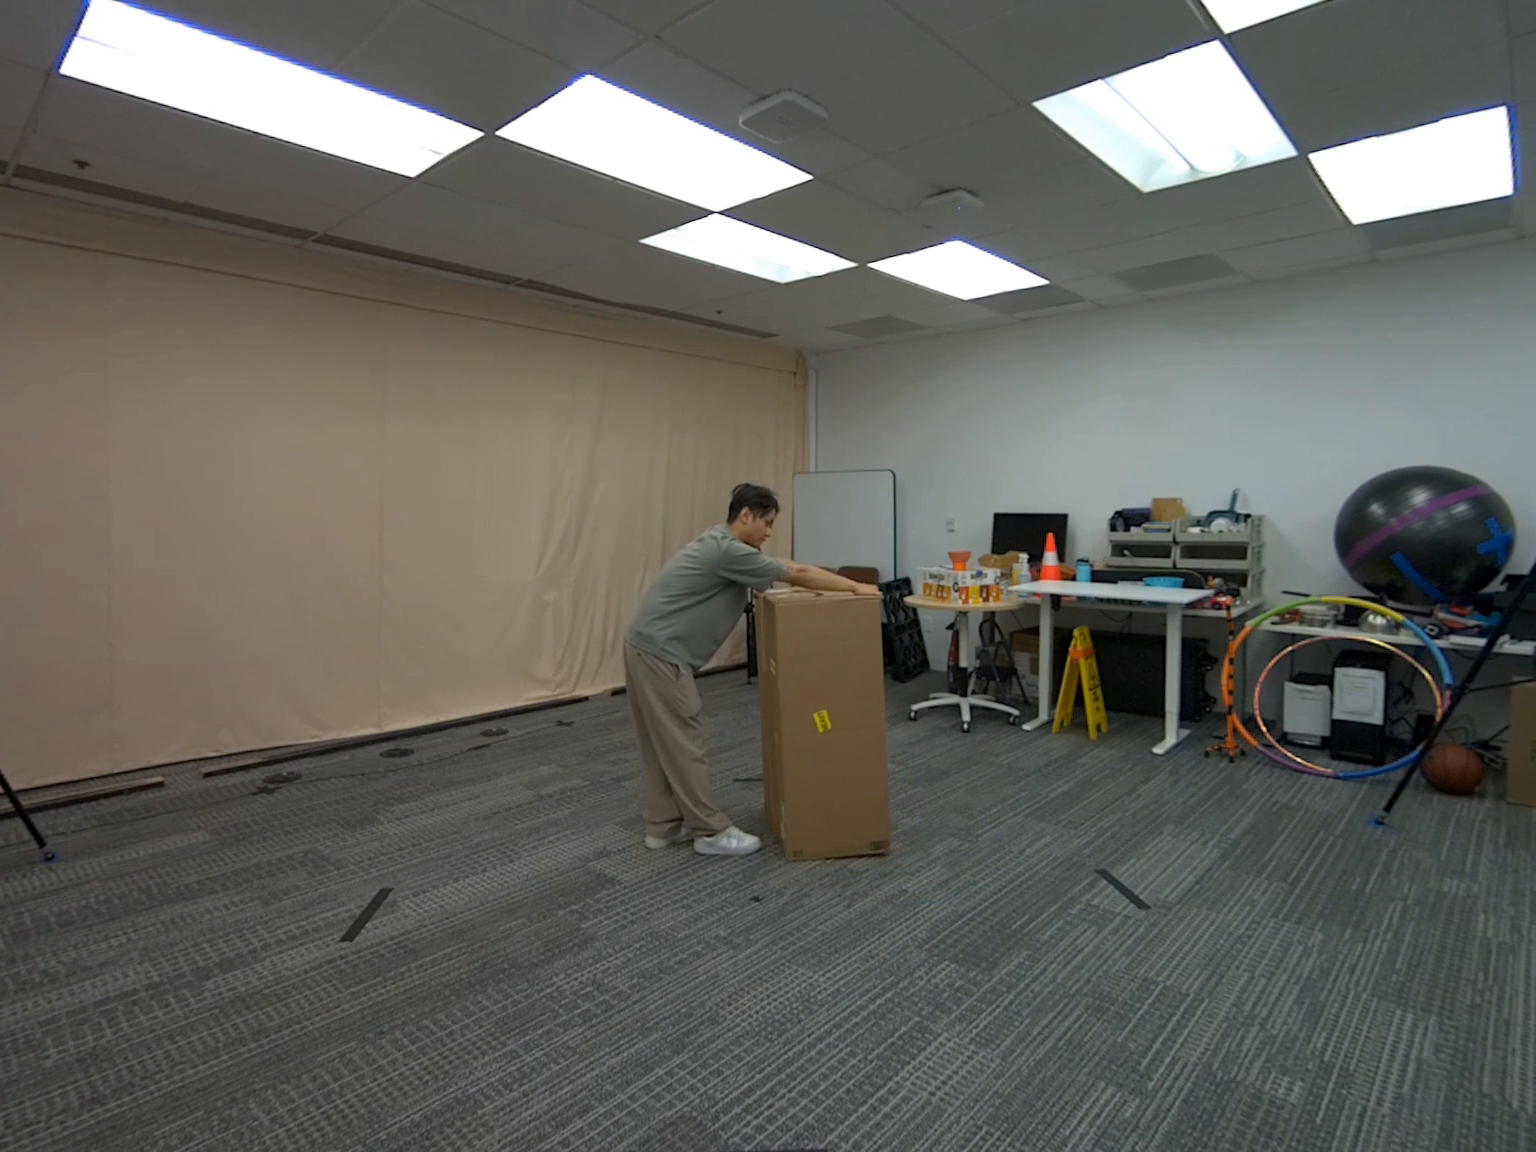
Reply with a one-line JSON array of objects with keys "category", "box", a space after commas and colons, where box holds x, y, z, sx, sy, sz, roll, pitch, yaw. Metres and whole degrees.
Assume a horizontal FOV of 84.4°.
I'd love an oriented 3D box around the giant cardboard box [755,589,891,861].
[{"category": "giant cardboard box", "box": [0.213, 0.576, 3.575, 0.423, 1.024, 0.583, -3, 3, -9]}]
